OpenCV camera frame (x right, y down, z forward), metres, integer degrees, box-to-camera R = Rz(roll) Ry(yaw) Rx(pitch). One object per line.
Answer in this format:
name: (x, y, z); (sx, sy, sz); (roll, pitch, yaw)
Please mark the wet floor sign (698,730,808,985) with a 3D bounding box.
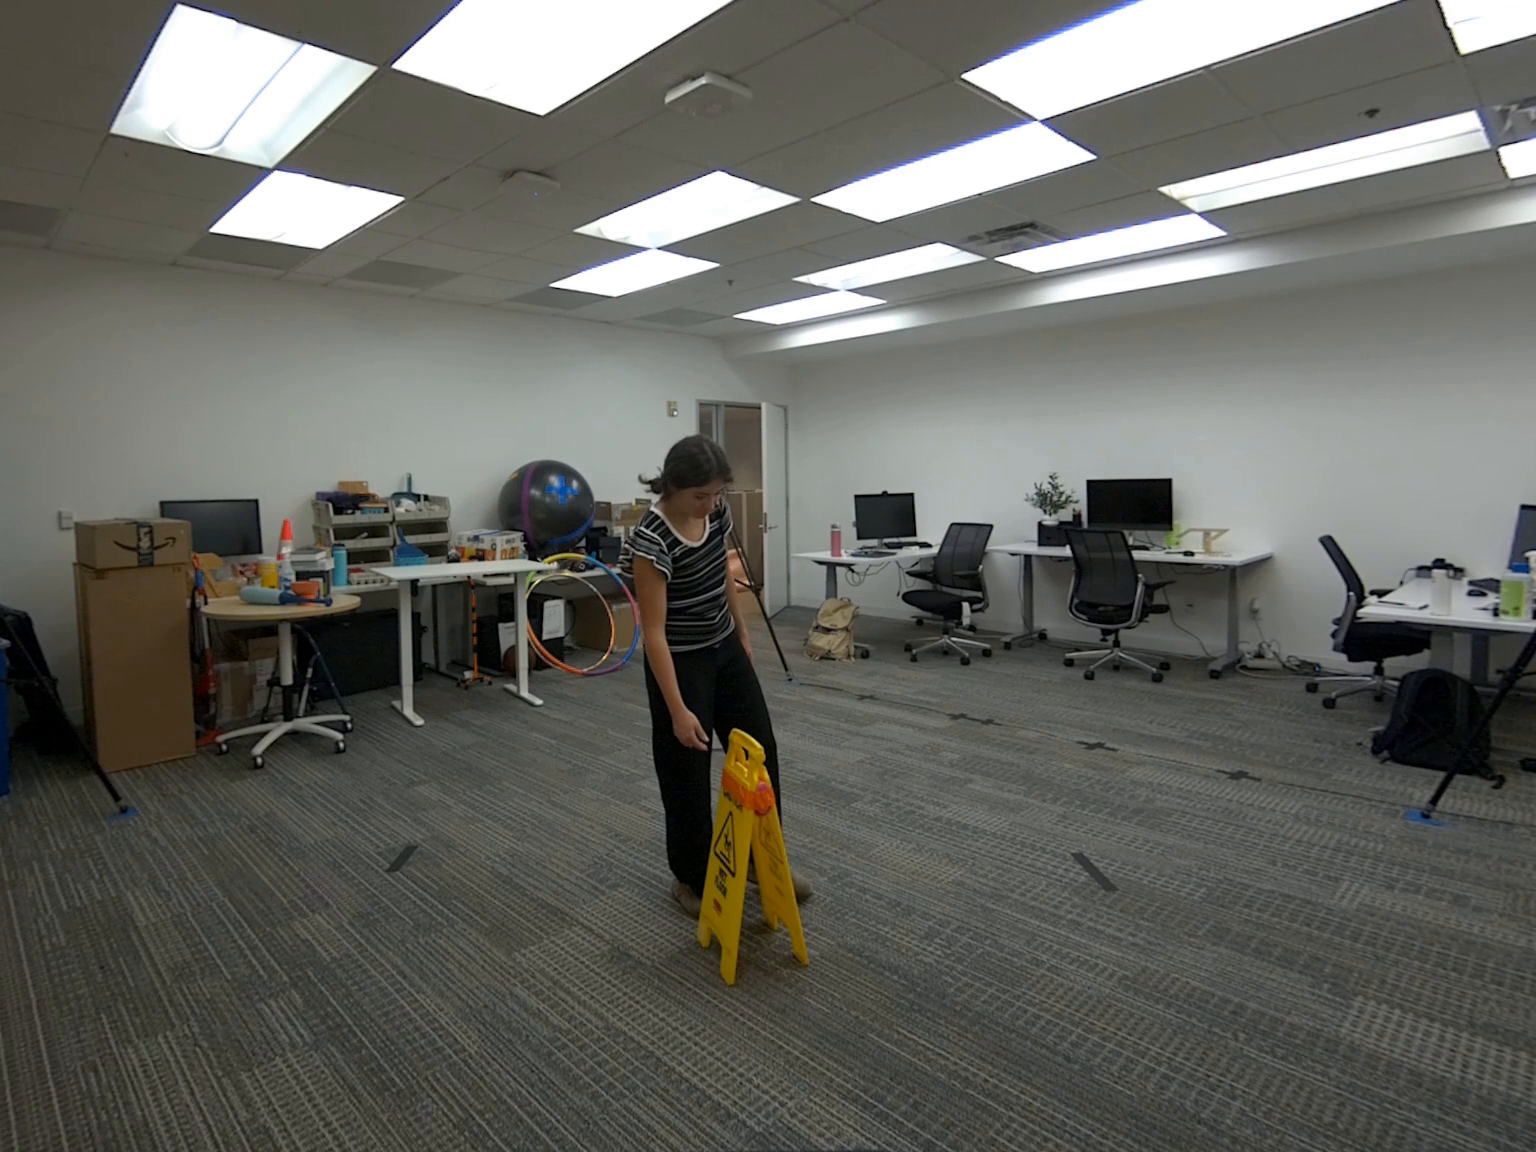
wet floor sign: (-0.056, 0.793, 2.503); (0.284, 0.643, 0.288); (-4, 5, -21)
